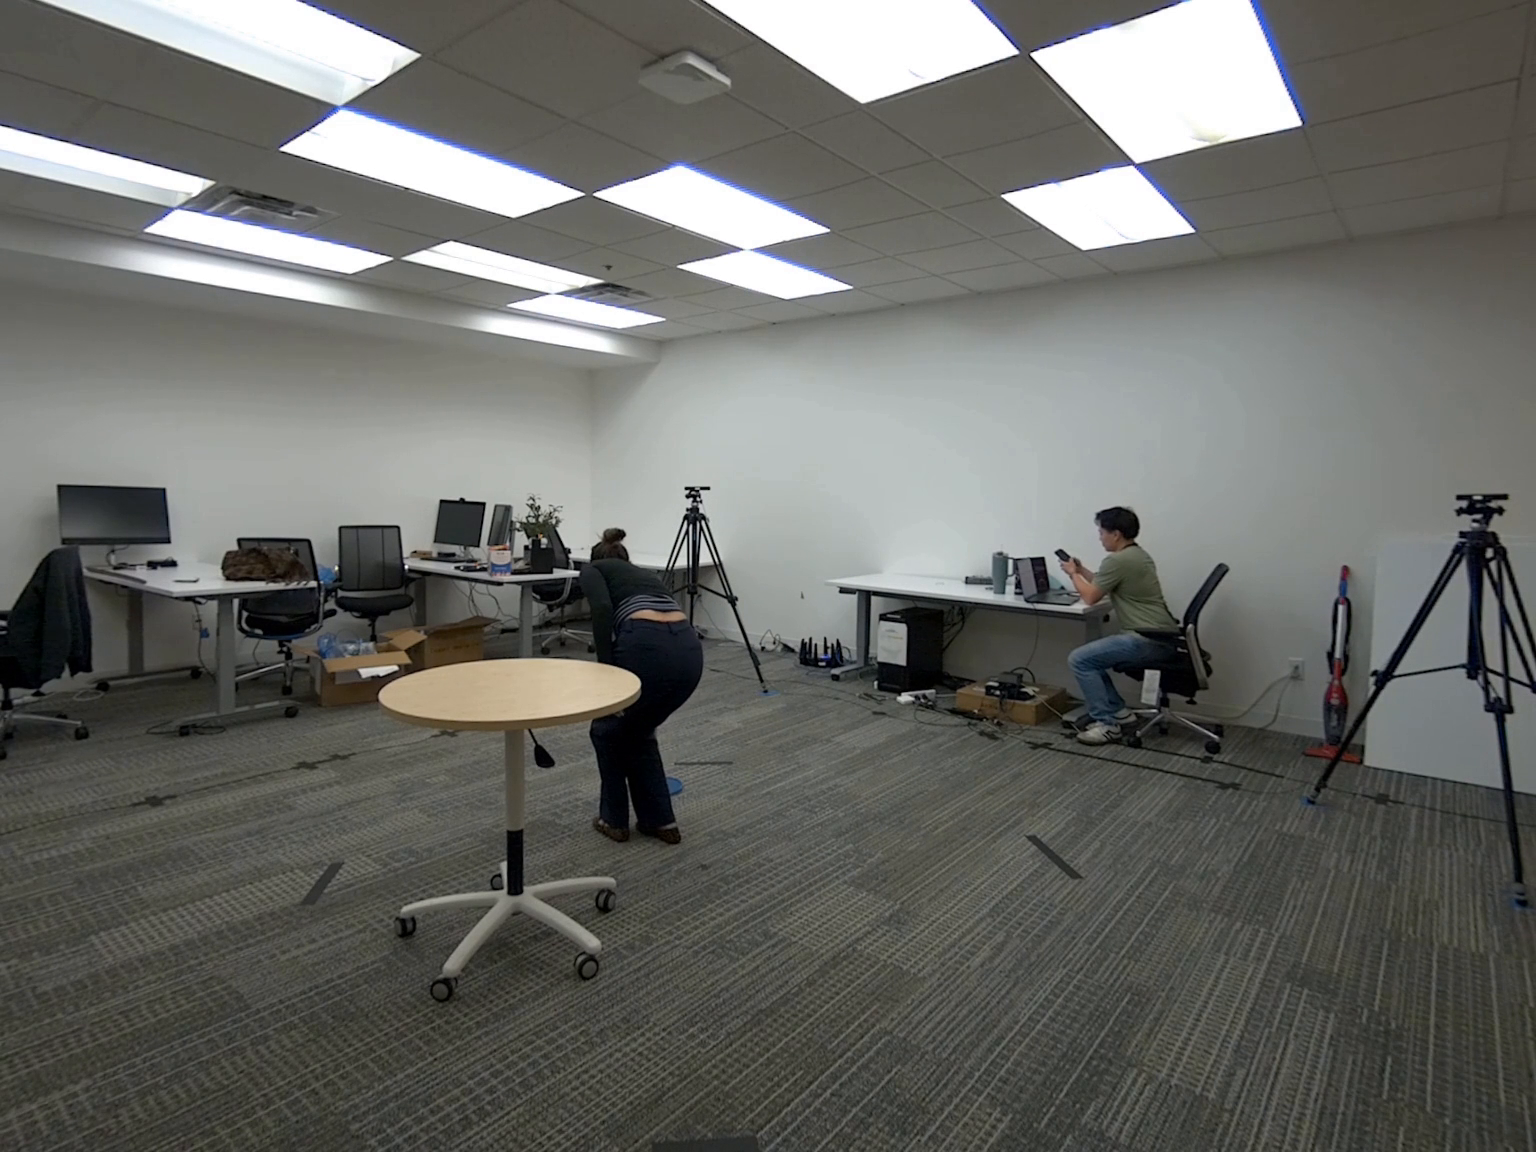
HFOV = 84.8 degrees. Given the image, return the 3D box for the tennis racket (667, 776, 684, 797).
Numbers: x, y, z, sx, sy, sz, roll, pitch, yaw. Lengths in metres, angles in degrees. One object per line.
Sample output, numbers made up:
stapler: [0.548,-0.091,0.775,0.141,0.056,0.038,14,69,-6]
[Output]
tennis racket: [-0.515,0.973,3.849,0.215,0.031,0.431,1,5,4]
